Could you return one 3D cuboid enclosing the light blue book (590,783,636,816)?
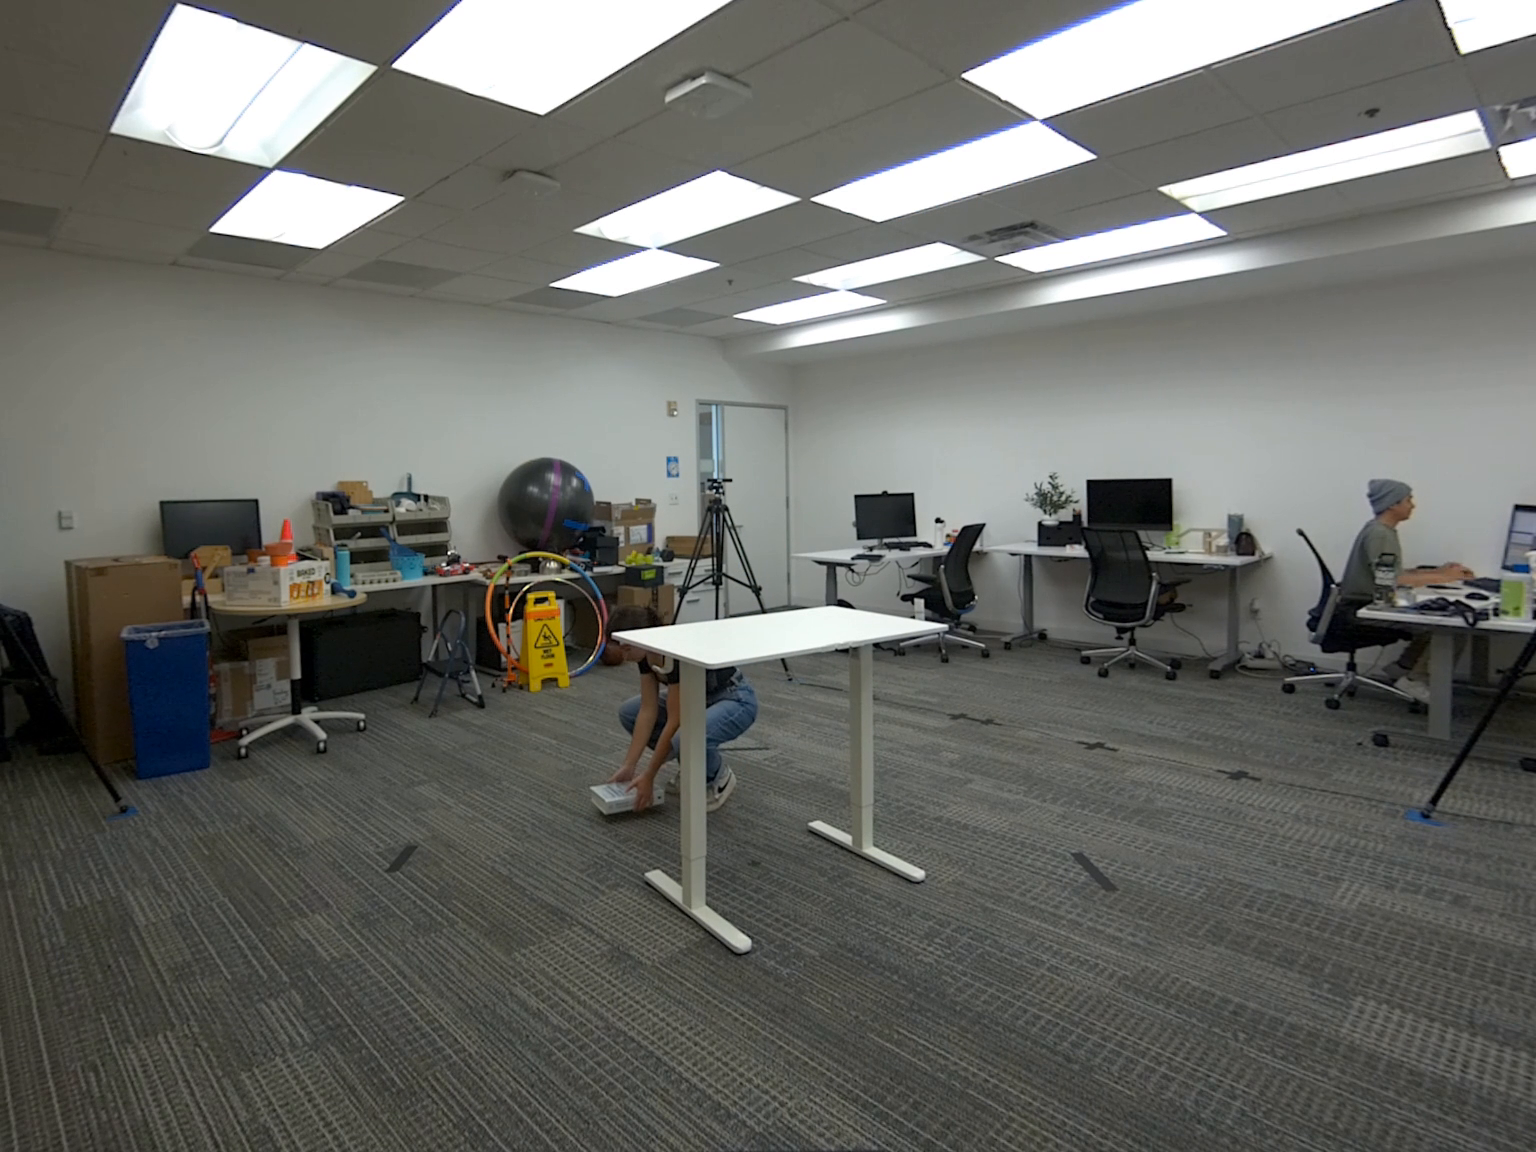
[{"bbox_3d":[-0.599,0.928,3.611,0.255,0.059,0.196,-2,5,-29],"label":"light blue book"}]
